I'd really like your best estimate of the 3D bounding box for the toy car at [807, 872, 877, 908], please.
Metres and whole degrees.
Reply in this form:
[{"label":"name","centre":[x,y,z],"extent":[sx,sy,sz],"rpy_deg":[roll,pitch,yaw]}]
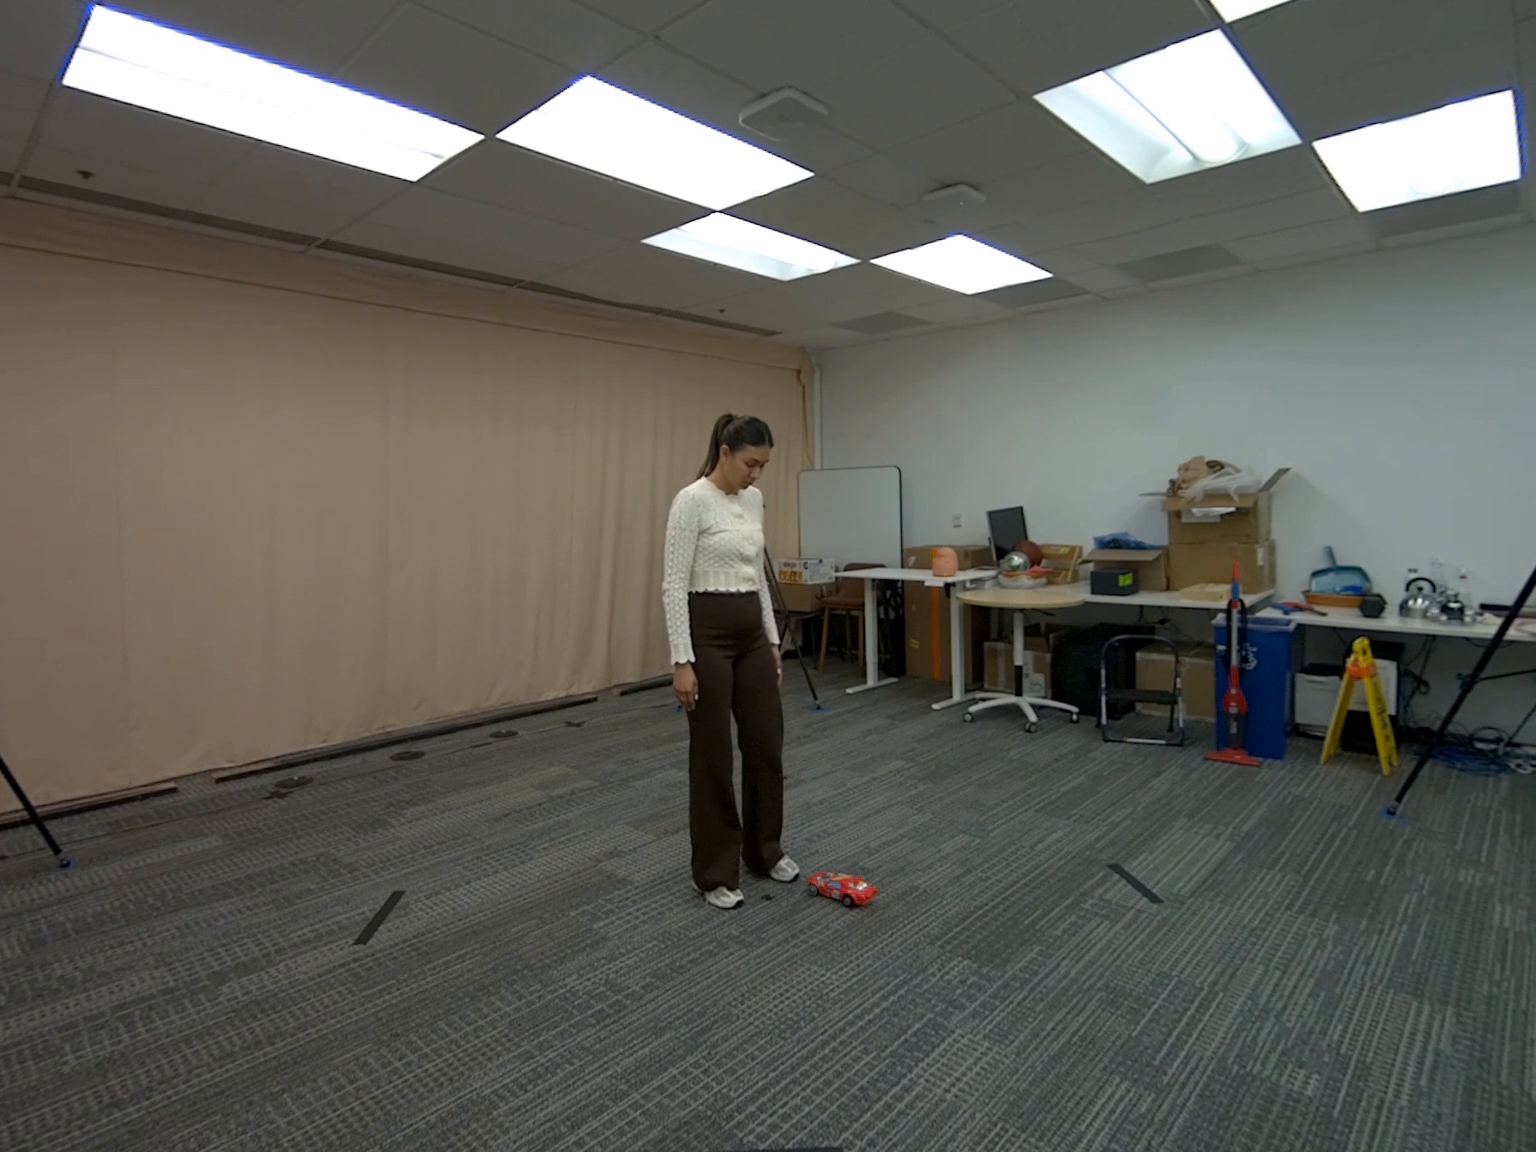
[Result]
[{"label":"toy car","centre":[0.272,1.111,2.963],"extent":[0.261,0.083,0.126],"rpy_deg":[-11,-2,39]}]
